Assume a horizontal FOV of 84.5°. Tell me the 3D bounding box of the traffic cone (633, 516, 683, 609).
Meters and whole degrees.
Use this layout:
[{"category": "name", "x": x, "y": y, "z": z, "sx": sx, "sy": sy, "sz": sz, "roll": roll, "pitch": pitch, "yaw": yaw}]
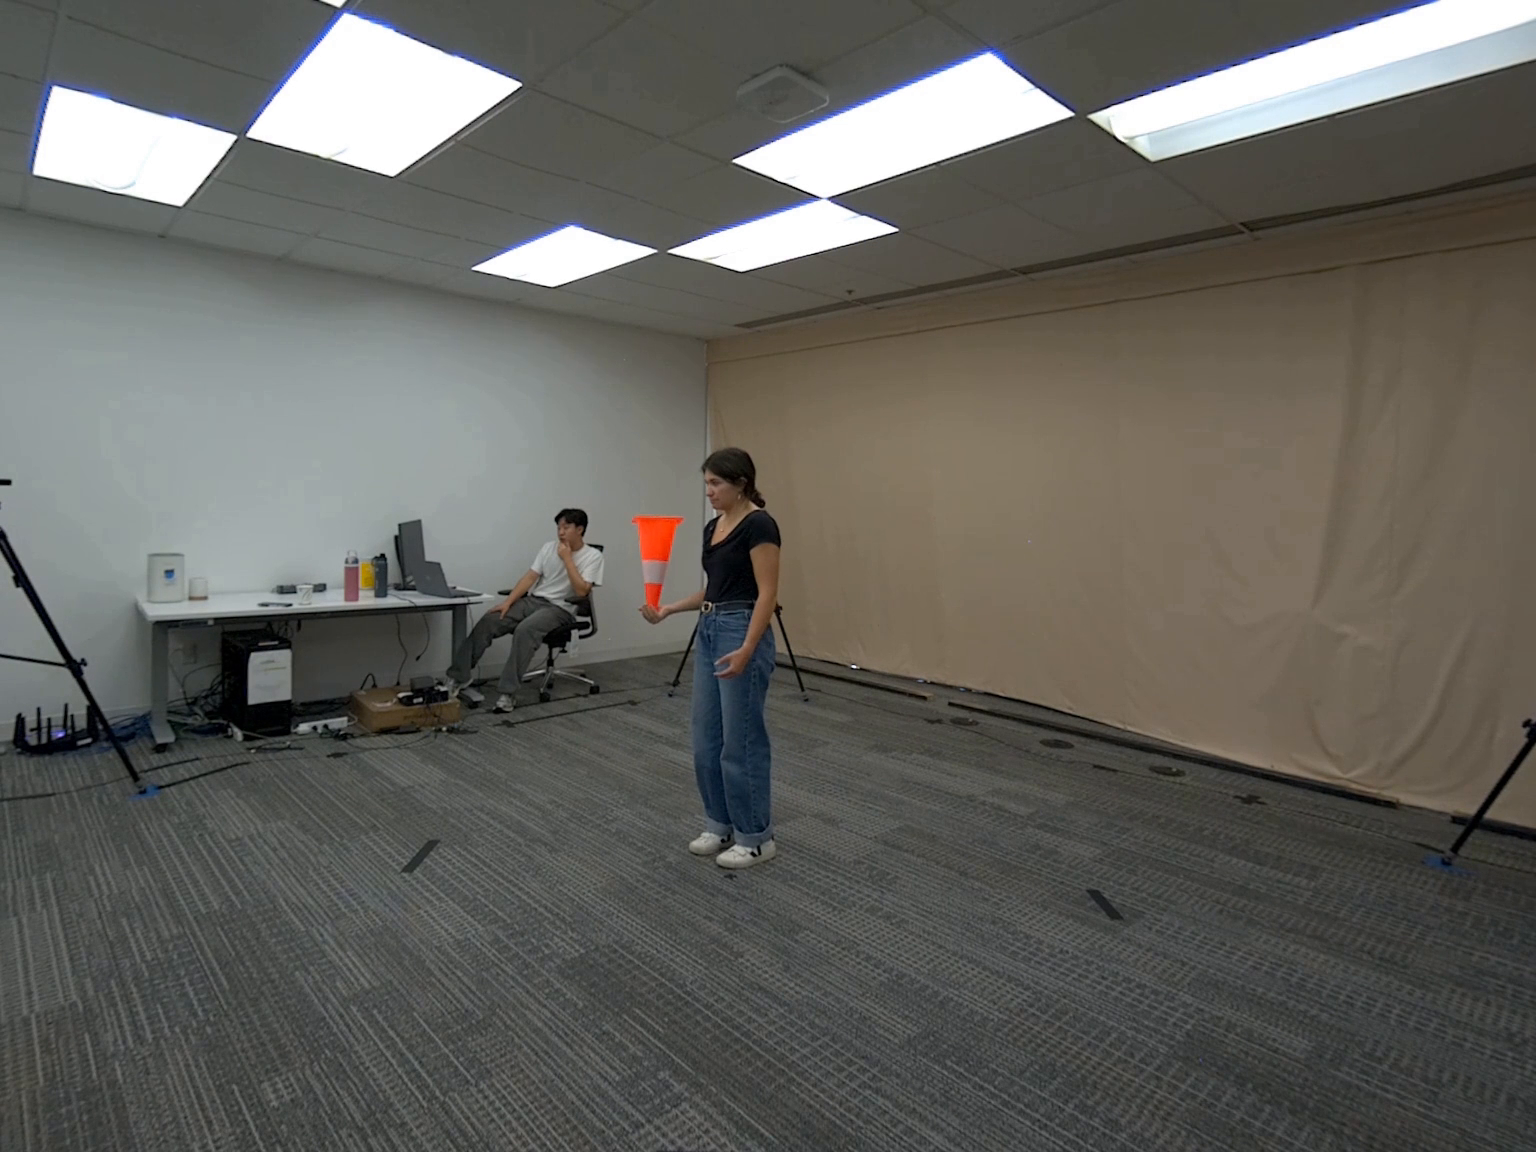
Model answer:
[{"category": "traffic cone", "x": -0.449, "y": -0.039, "z": 3.355, "sx": 0.202, "sy": 0.386, "sz": 0.204, "roll": 4, "pitch": -8, "yaw": -14}]
